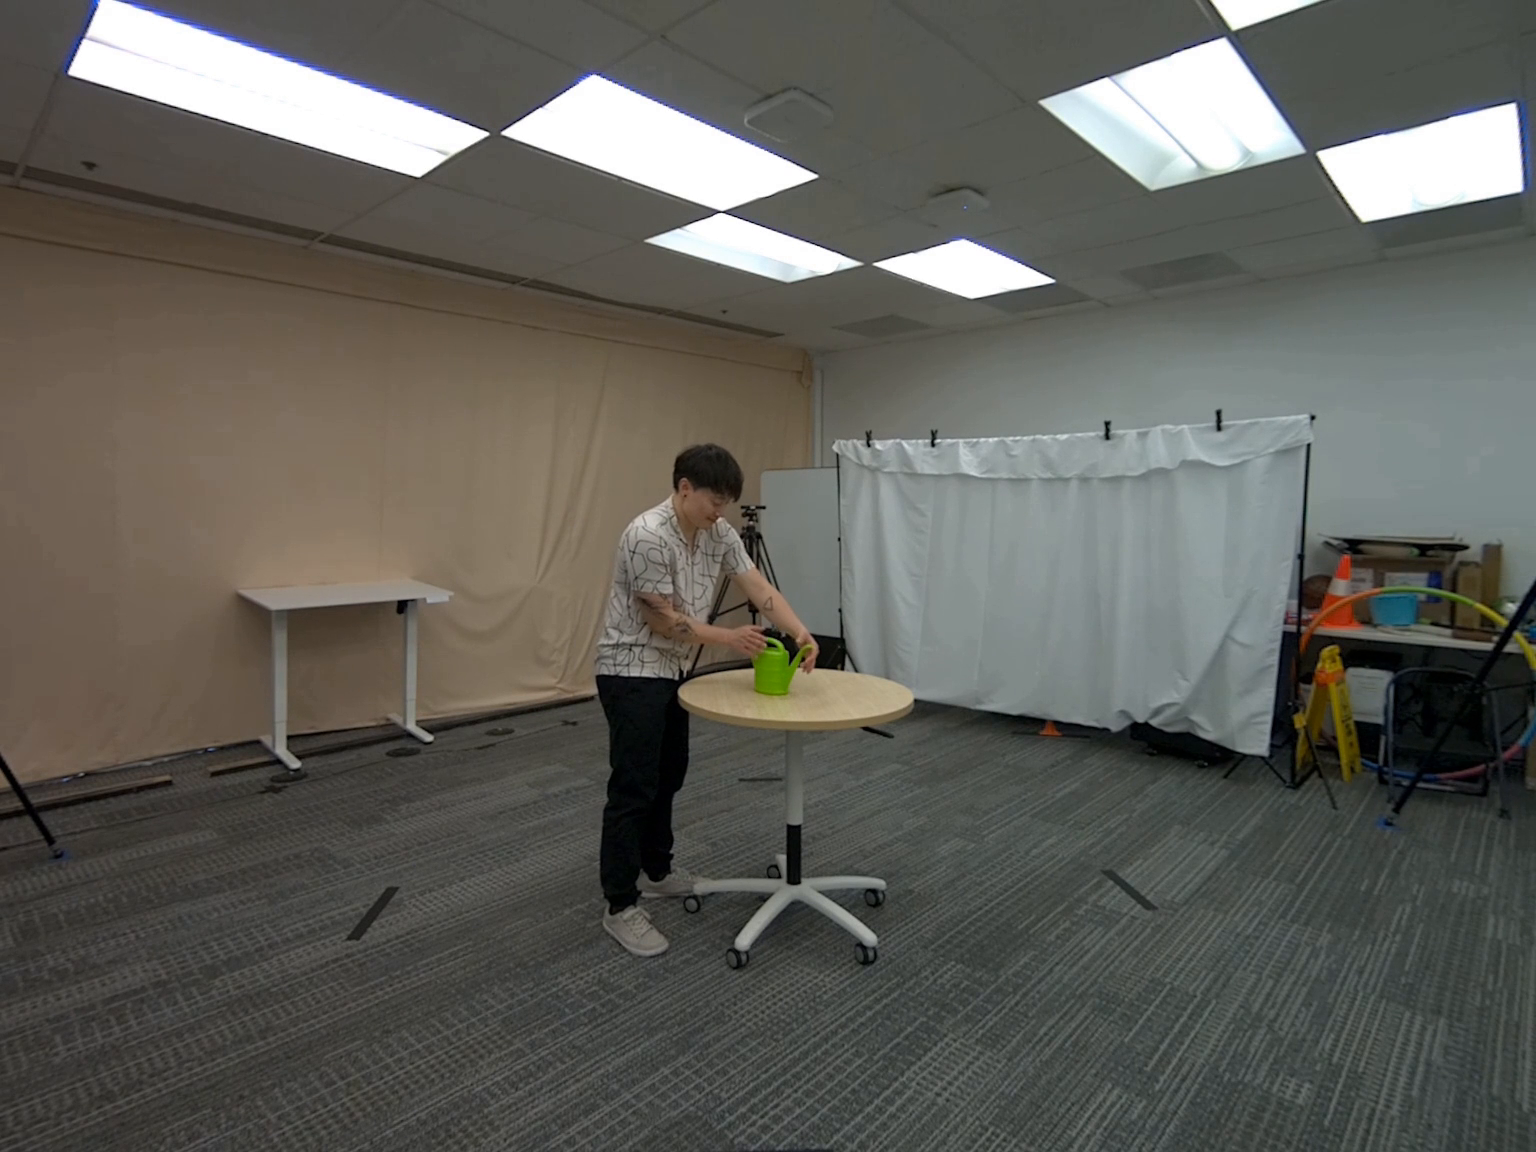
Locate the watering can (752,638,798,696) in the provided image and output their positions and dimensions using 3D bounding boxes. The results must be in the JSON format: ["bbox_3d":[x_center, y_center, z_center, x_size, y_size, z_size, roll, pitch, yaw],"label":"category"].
[{"bbox_3d":[0.036,0.296,2.704,0.096,0.176,0.285,-4,3,-26],"label":"watering can"}]
